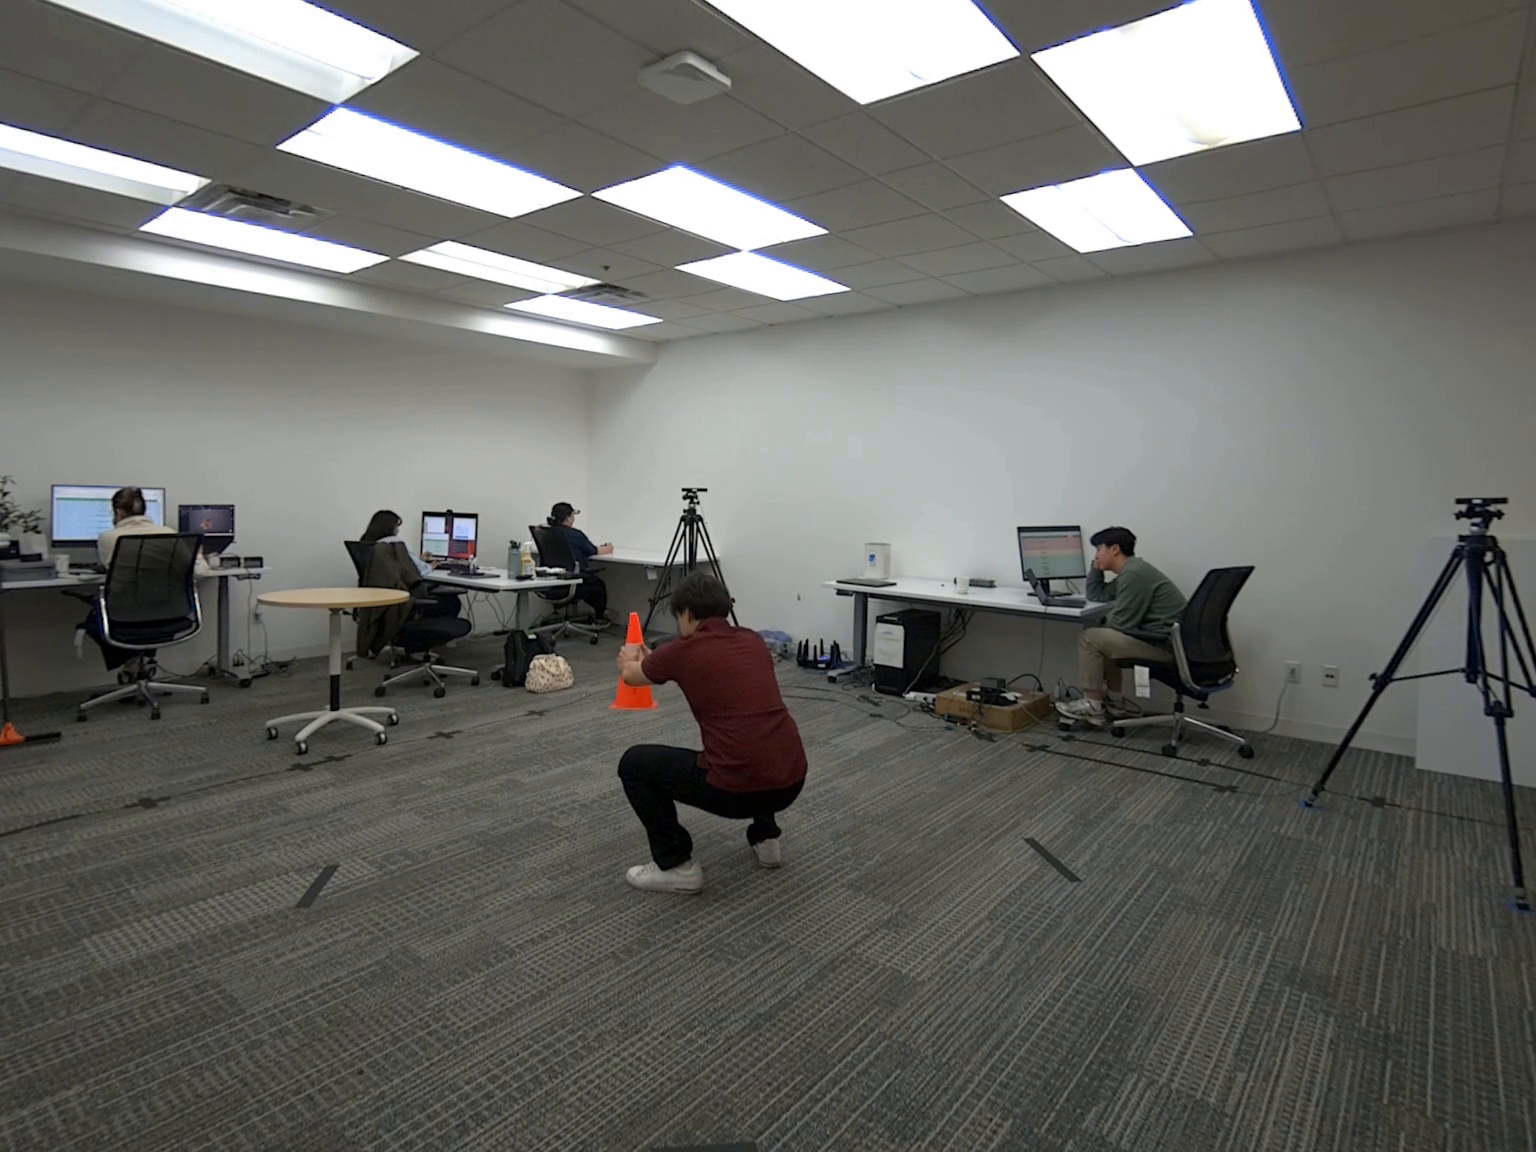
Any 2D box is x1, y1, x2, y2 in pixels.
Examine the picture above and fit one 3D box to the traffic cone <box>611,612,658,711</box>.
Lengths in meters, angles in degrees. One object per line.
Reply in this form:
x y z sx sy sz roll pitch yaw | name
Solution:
-0.578 0.340 3.542 0.205 0.384 0.203 -1 -1 -1 | traffic cone
